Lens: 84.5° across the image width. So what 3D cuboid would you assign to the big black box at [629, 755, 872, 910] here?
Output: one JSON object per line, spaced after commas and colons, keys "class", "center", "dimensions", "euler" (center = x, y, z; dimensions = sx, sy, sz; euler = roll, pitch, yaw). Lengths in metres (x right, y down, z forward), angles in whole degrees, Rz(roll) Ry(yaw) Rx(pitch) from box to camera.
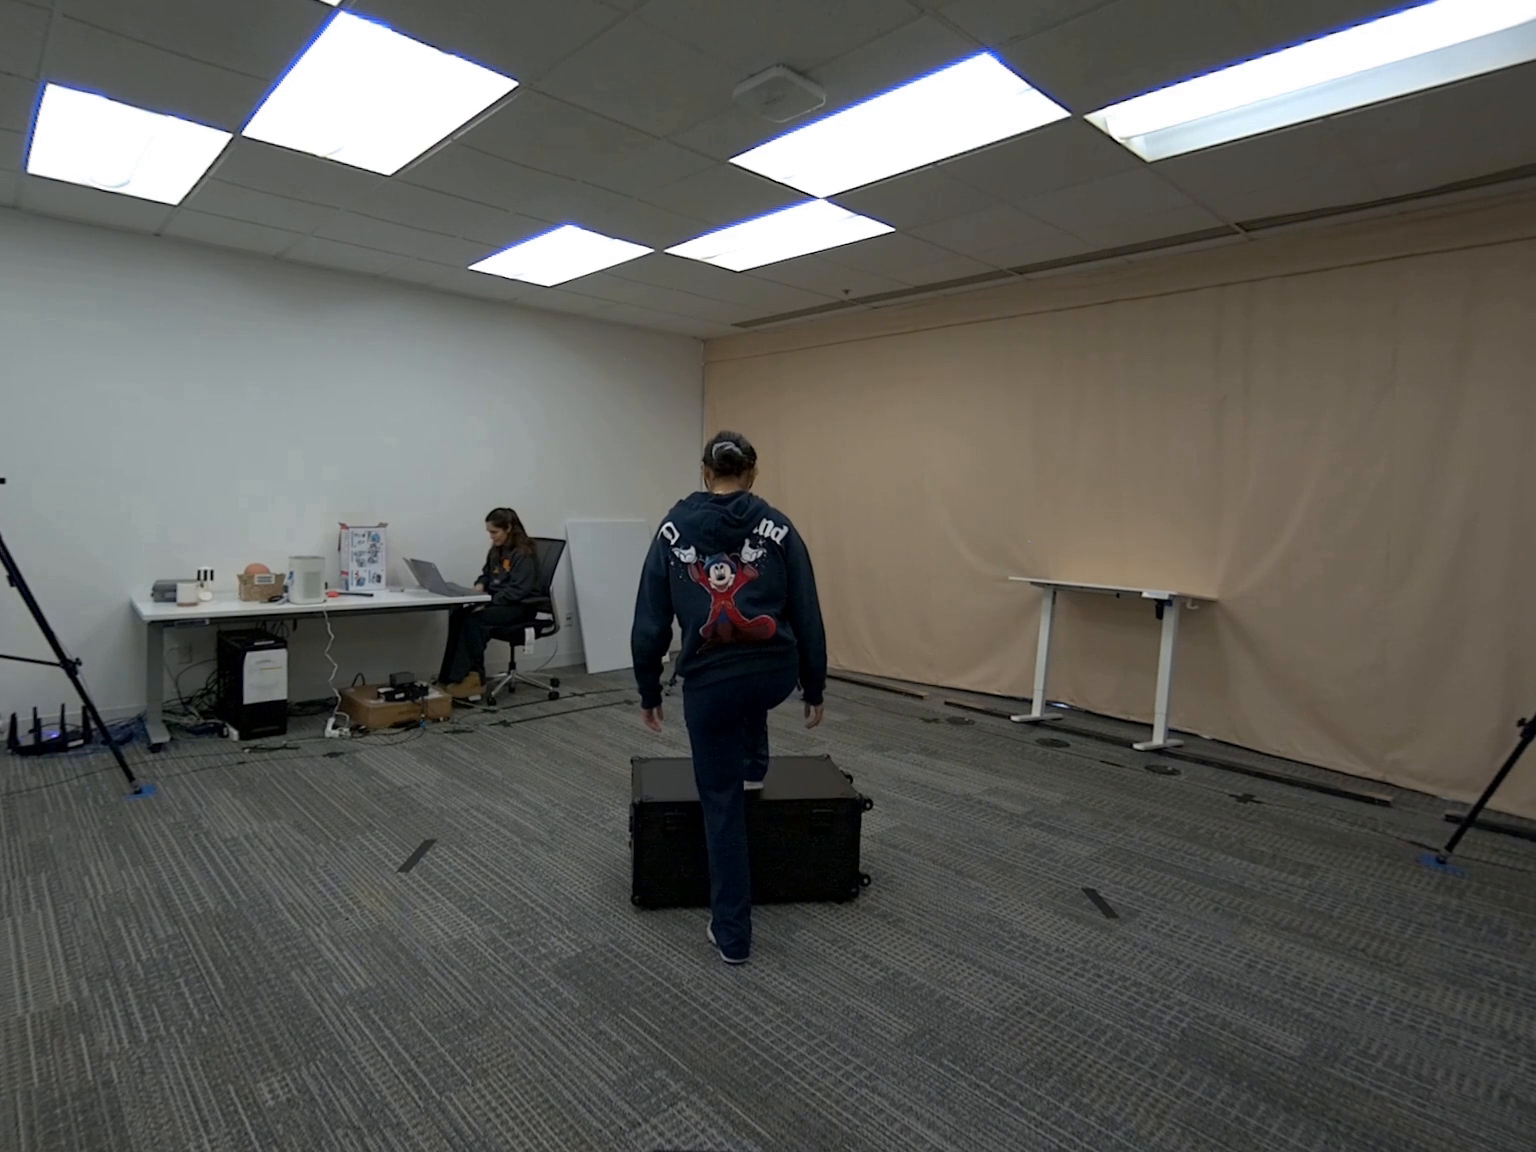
{"class": "big black box", "center": [-0.077, 0.919, 3.089], "dimensions": [0.855, 0.395, 0.526], "euler": [1, 5, -9]}
